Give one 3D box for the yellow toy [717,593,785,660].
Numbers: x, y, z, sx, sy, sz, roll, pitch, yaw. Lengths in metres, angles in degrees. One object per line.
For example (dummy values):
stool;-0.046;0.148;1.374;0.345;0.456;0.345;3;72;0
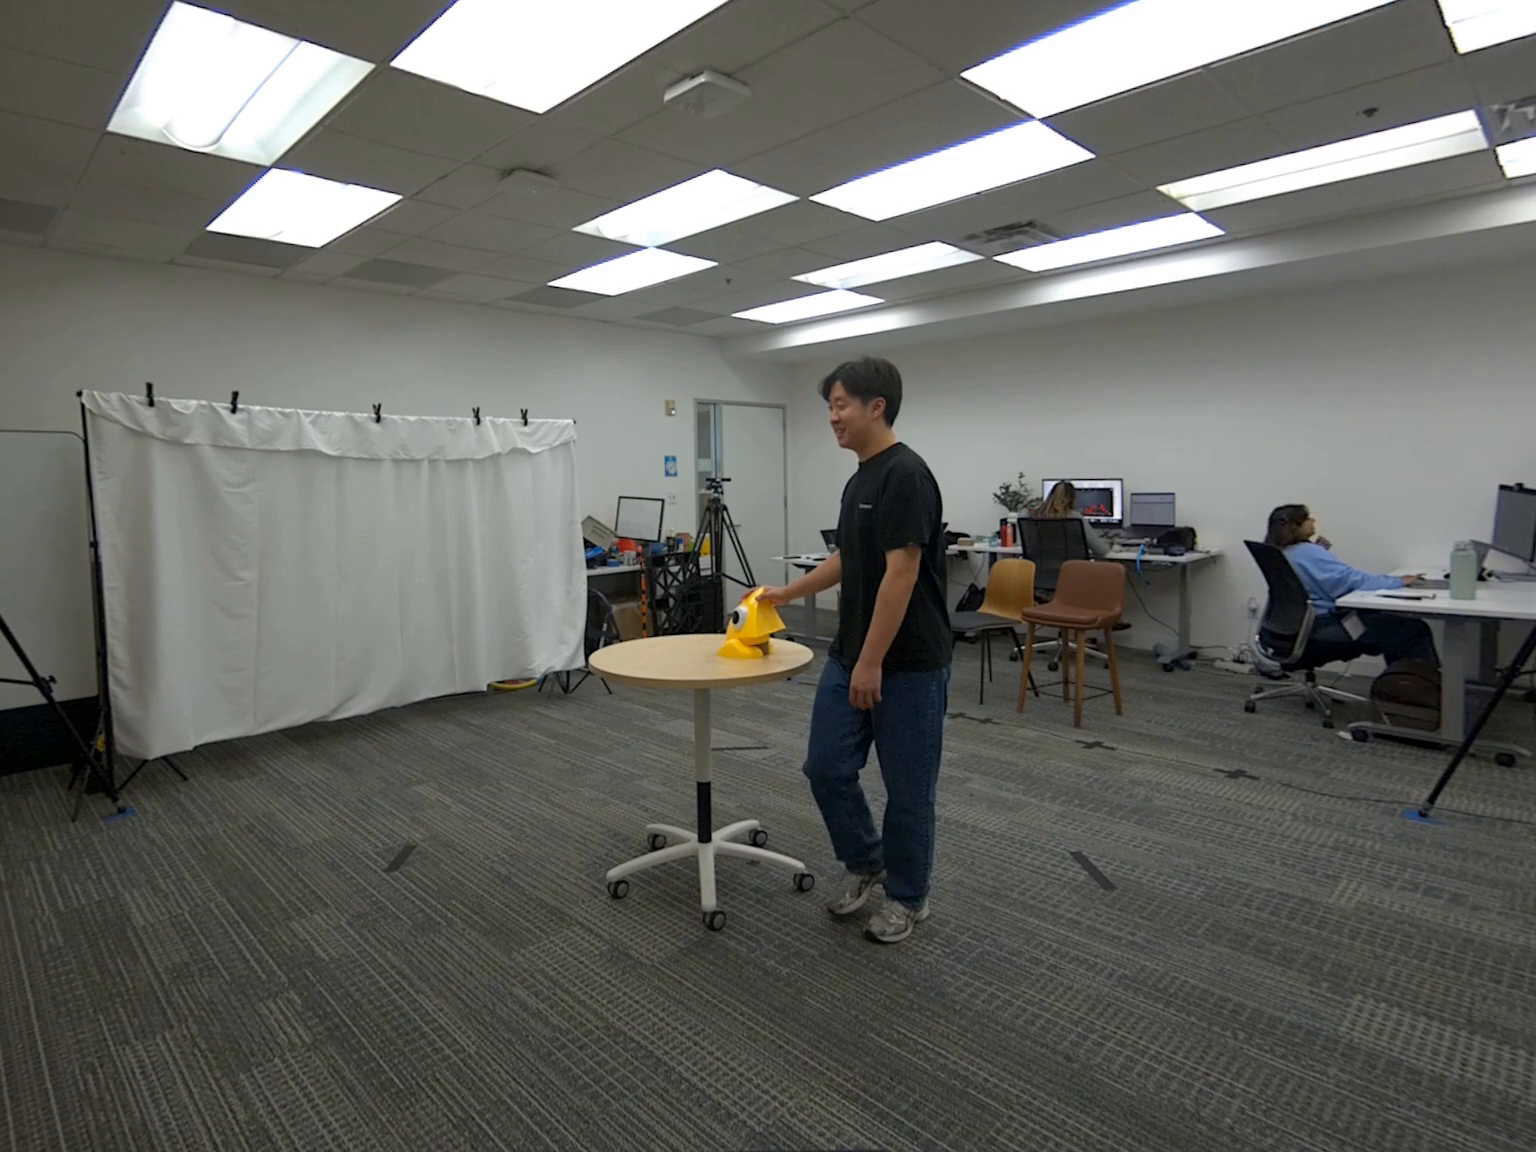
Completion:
yellow toy;-0.068;0.151;2.936;0.198;0.230;0.200;1;5;30
